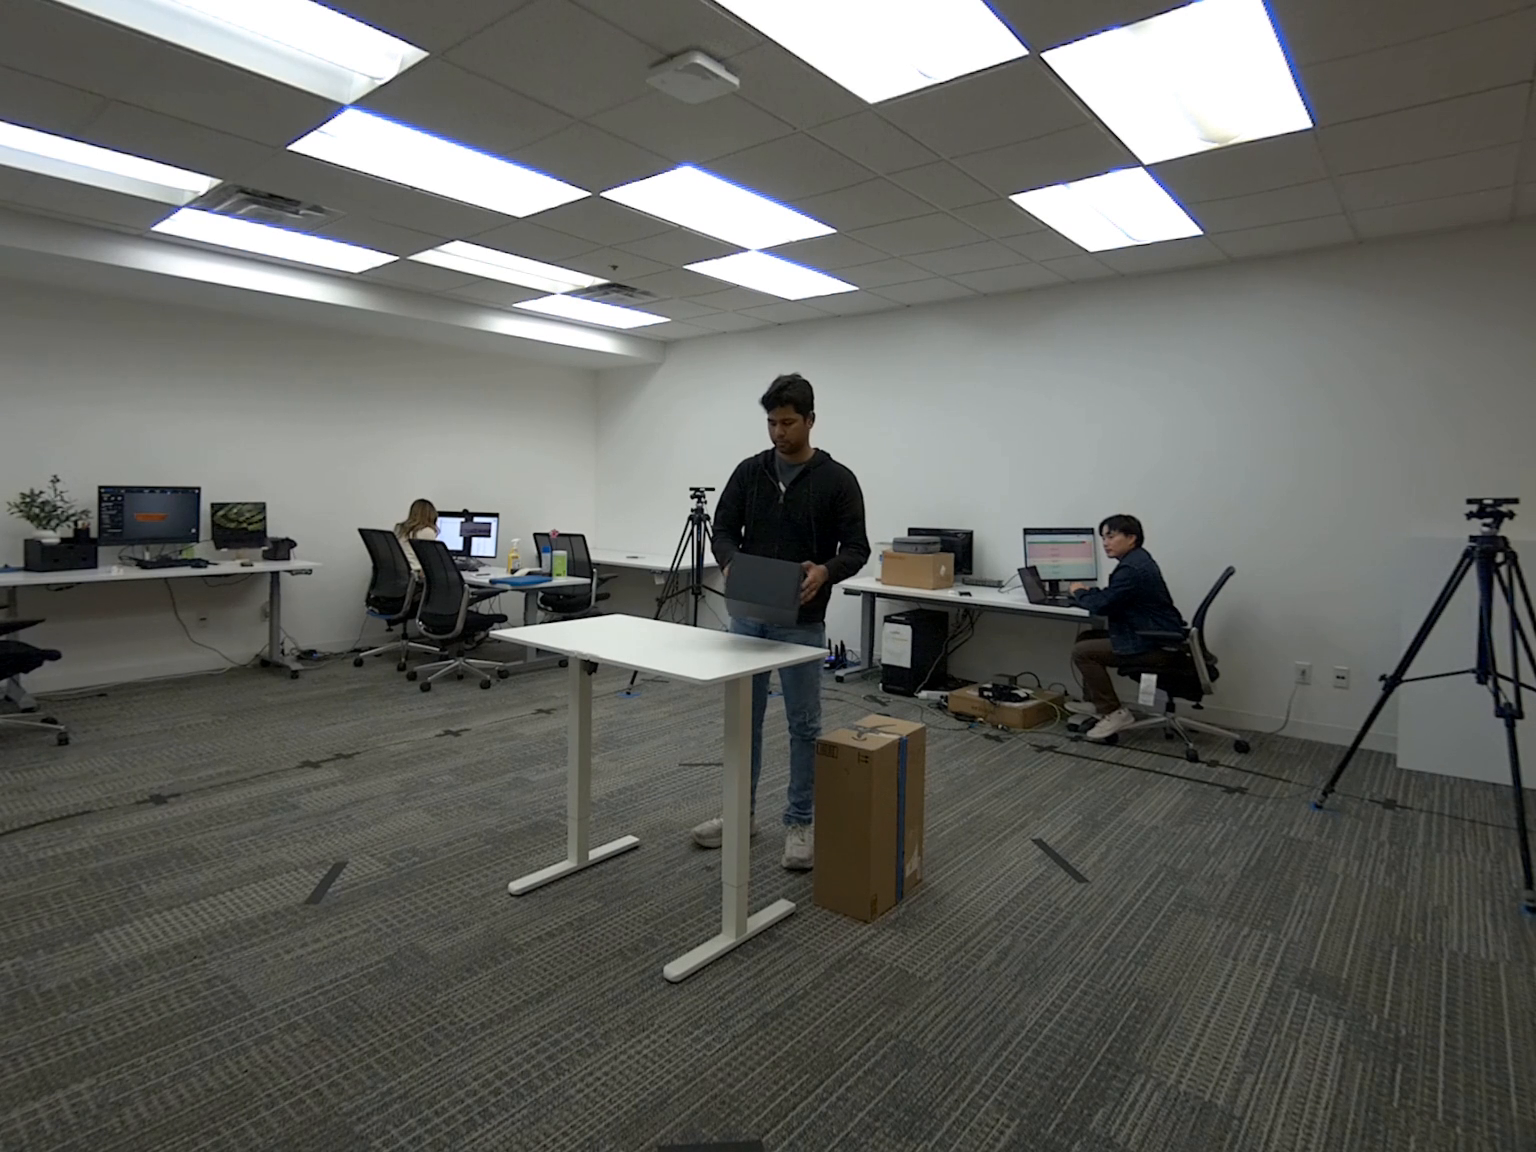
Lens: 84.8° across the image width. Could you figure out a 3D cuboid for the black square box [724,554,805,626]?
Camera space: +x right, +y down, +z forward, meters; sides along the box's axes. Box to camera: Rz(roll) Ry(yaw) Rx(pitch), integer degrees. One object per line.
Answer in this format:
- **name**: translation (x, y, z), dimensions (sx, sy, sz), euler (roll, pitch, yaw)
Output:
- **black square box**: translation (-0.012, 0.044, 2.770), dimensions (0.231, 0.157, 0.212), euler (10, -12, 9)
